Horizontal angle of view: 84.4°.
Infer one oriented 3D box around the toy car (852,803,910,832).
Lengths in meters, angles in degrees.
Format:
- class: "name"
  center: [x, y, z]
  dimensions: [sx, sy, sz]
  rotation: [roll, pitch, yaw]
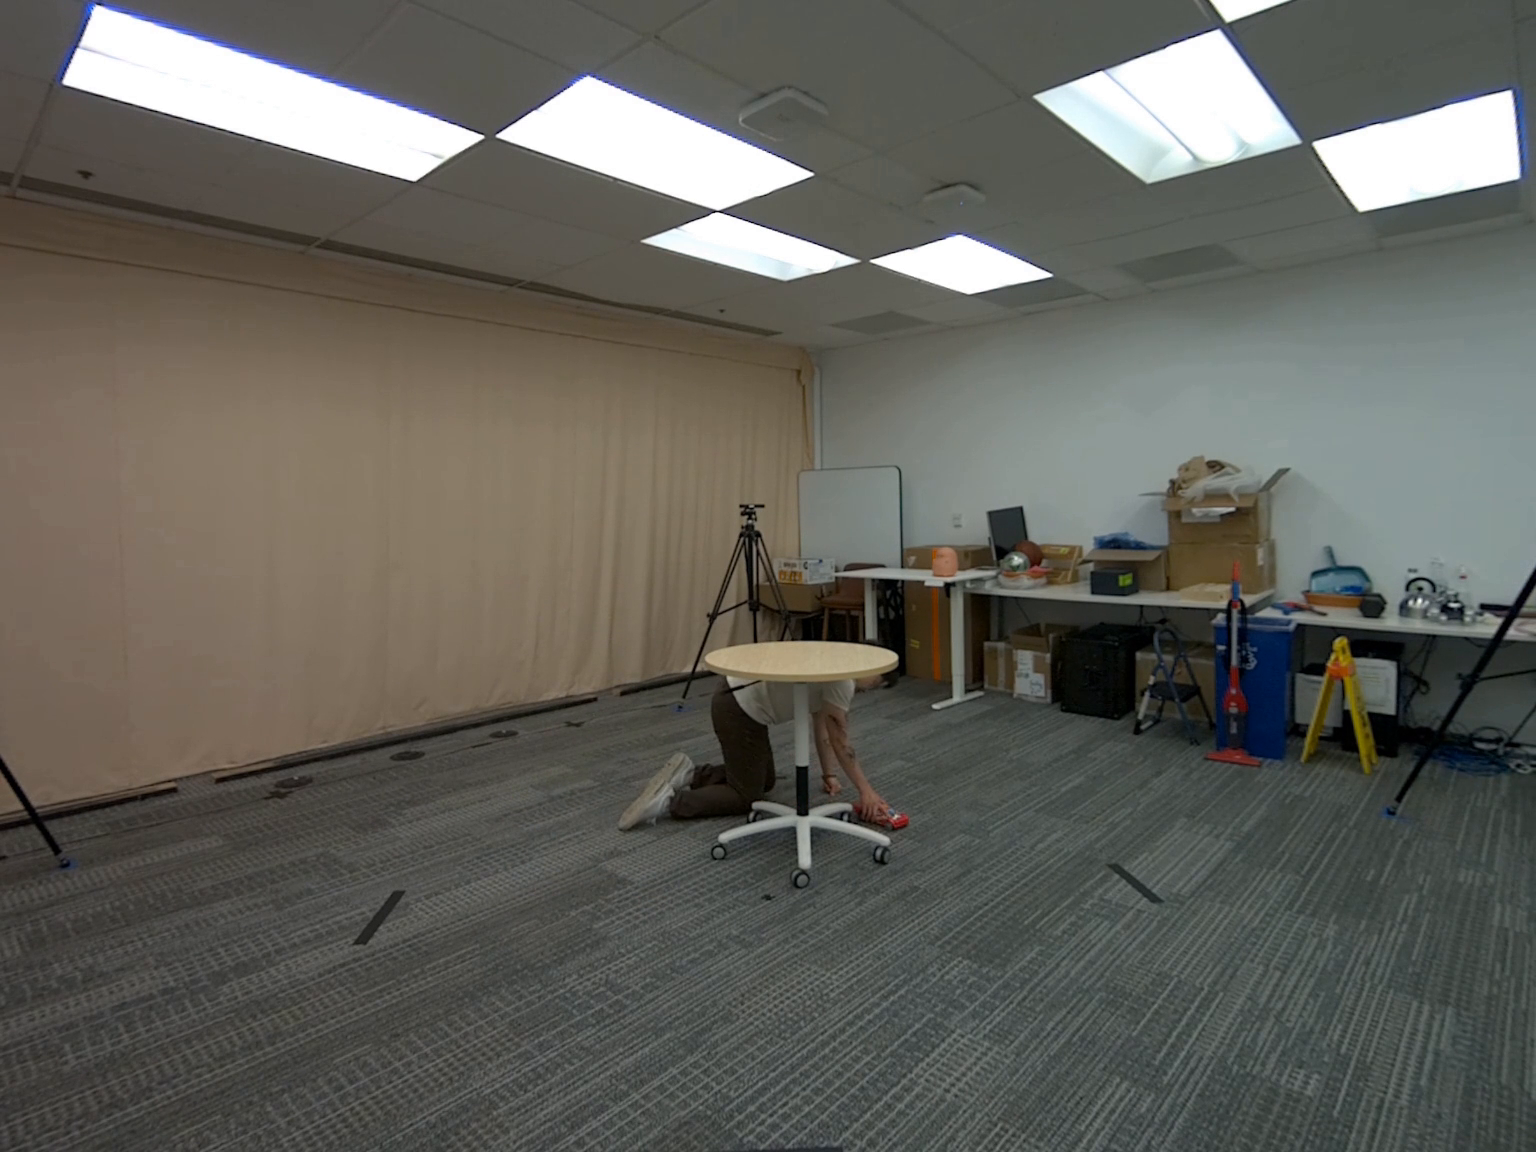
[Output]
- class: "toy car"
  center: [0.489, 1.041, 3.688]
  dimensions: [0.126, 0.083, 0.264]
  rotation: [-5, 16, -41]
